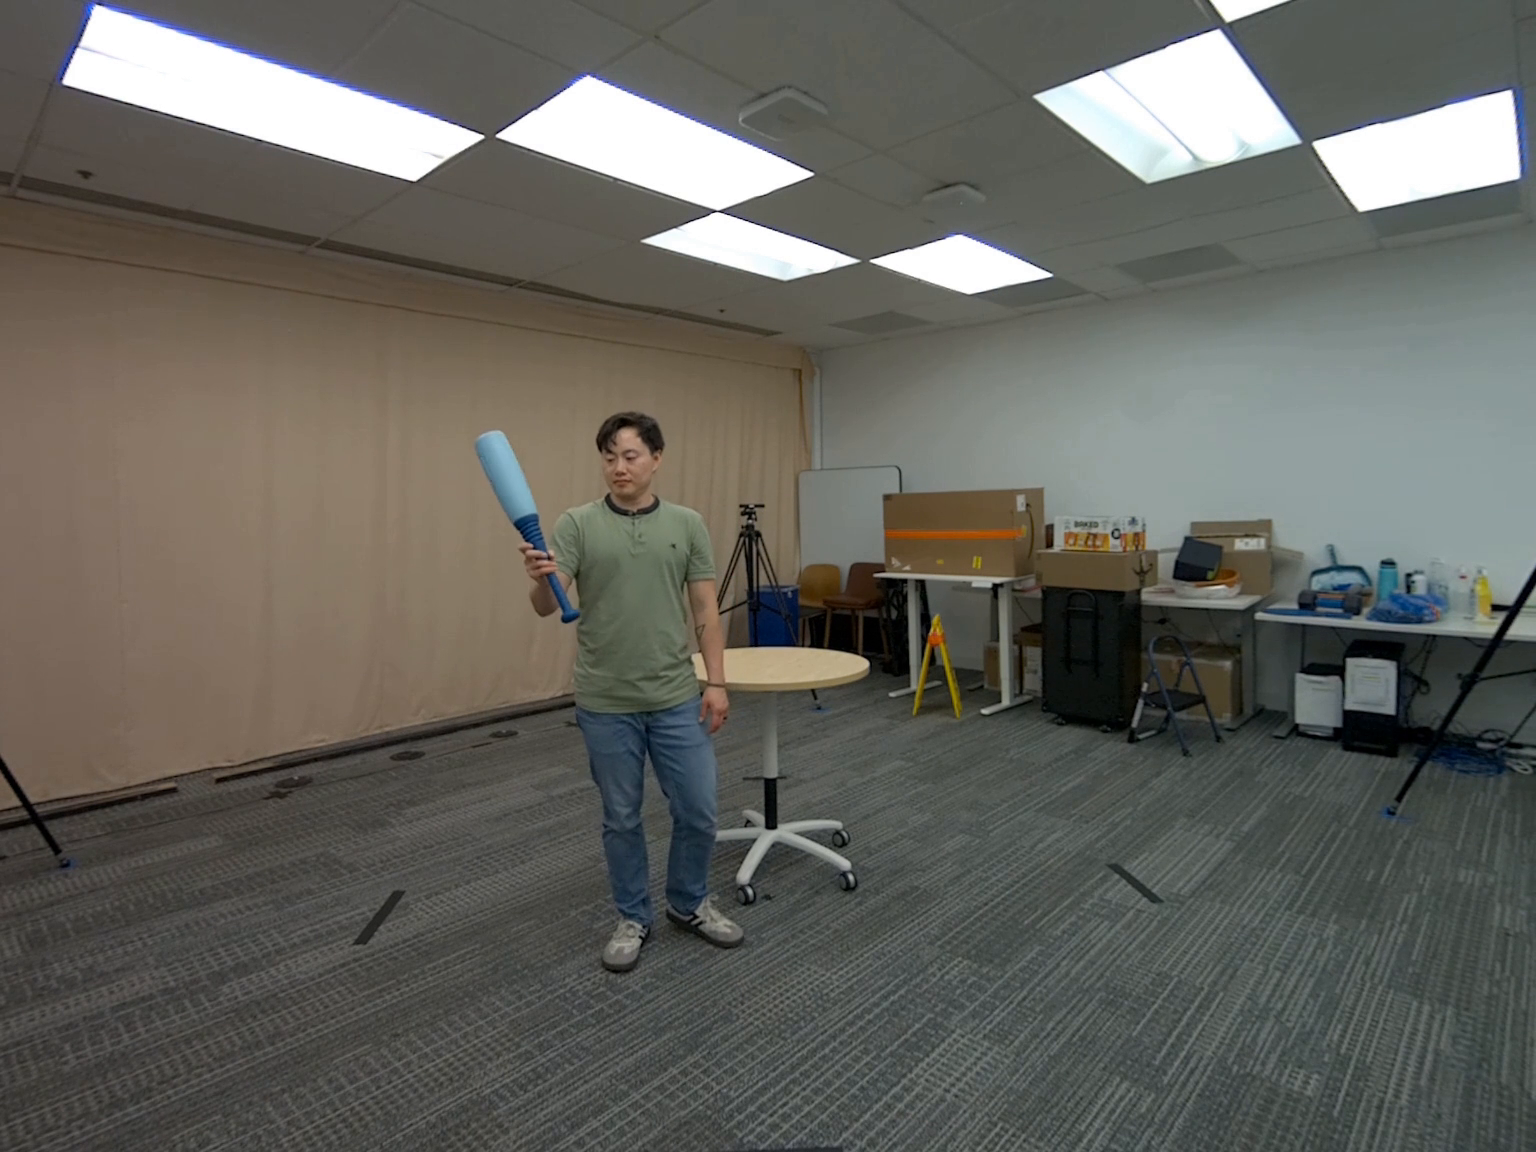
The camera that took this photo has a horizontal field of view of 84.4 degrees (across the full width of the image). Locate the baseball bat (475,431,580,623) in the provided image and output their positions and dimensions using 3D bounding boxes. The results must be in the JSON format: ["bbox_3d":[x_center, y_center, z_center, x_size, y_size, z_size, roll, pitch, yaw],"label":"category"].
[{"bbox_3d":[-0.613,-0.121,2.172,0.089,0.549,0.088,-24,-10,-6],"label":"baseball bat"}]
